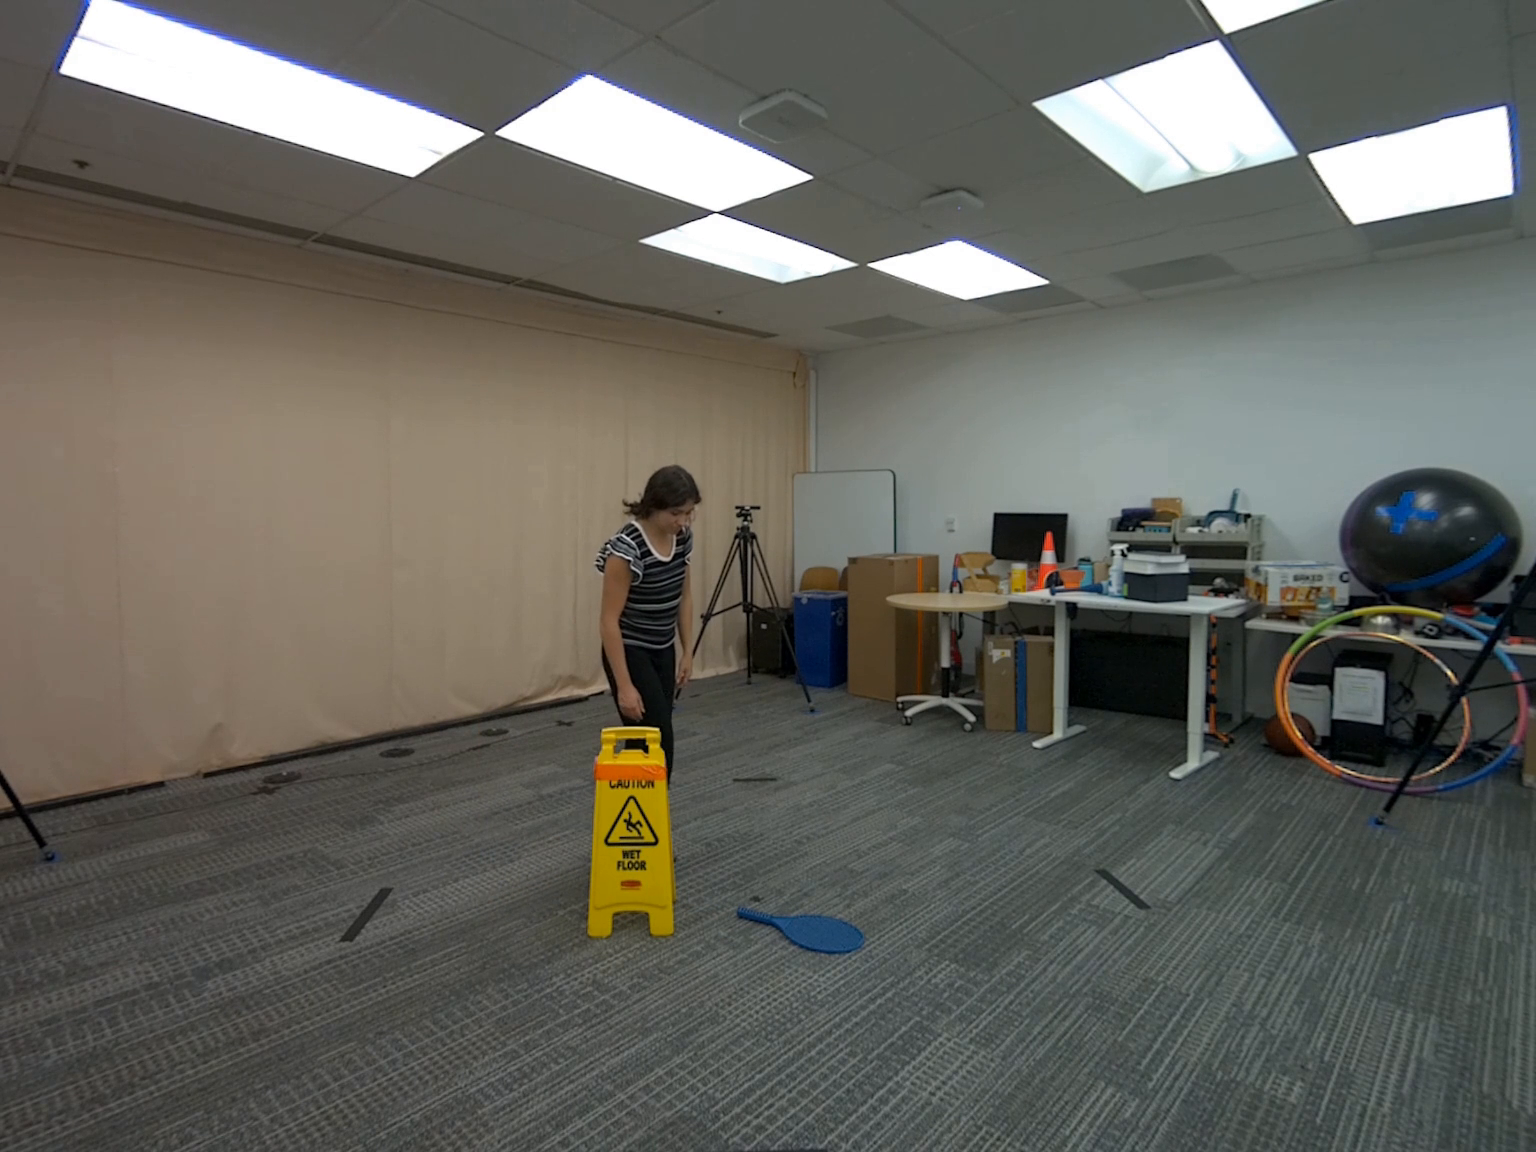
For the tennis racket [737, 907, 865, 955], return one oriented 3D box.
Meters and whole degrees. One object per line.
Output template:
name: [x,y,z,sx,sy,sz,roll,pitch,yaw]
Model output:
tennis racket: [0.104,1.149,2.759,0.443,0.031,0.209,3,6,22]
